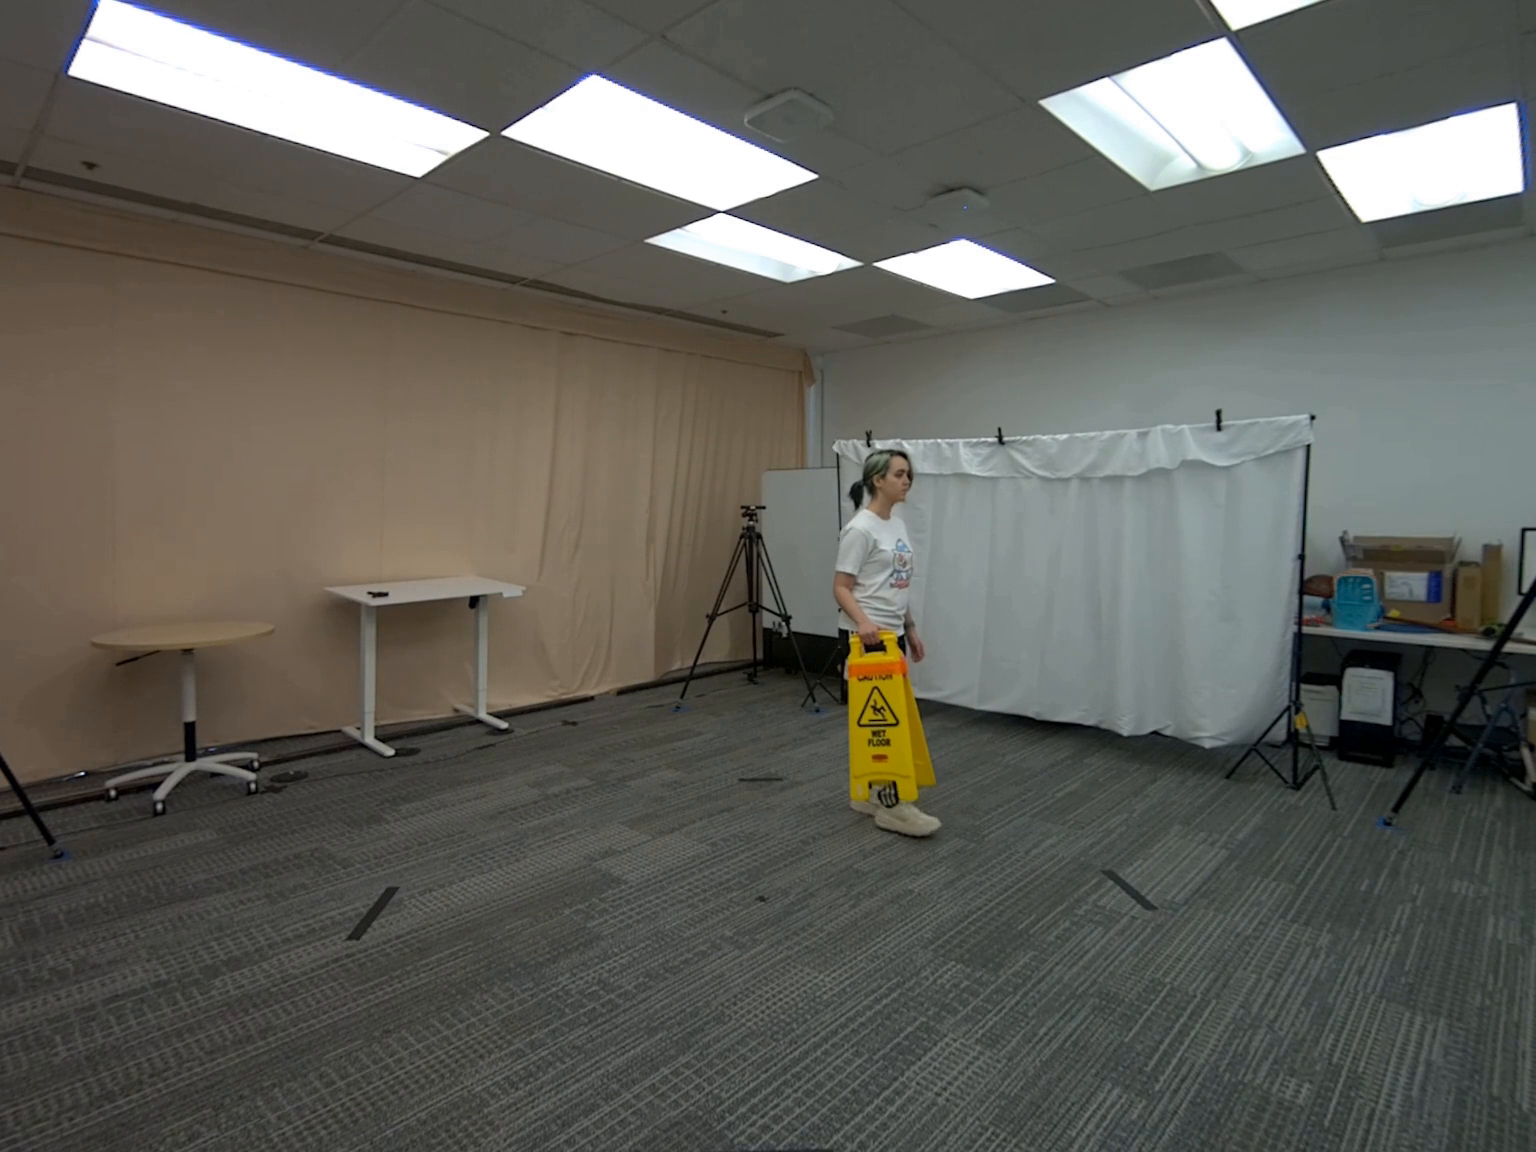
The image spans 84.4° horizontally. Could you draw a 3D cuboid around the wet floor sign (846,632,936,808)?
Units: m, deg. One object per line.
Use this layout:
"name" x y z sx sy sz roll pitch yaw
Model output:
"wet floor sign" 0.469 0.560 3.434 0.289 0.647 0.282 -10 -2 29
